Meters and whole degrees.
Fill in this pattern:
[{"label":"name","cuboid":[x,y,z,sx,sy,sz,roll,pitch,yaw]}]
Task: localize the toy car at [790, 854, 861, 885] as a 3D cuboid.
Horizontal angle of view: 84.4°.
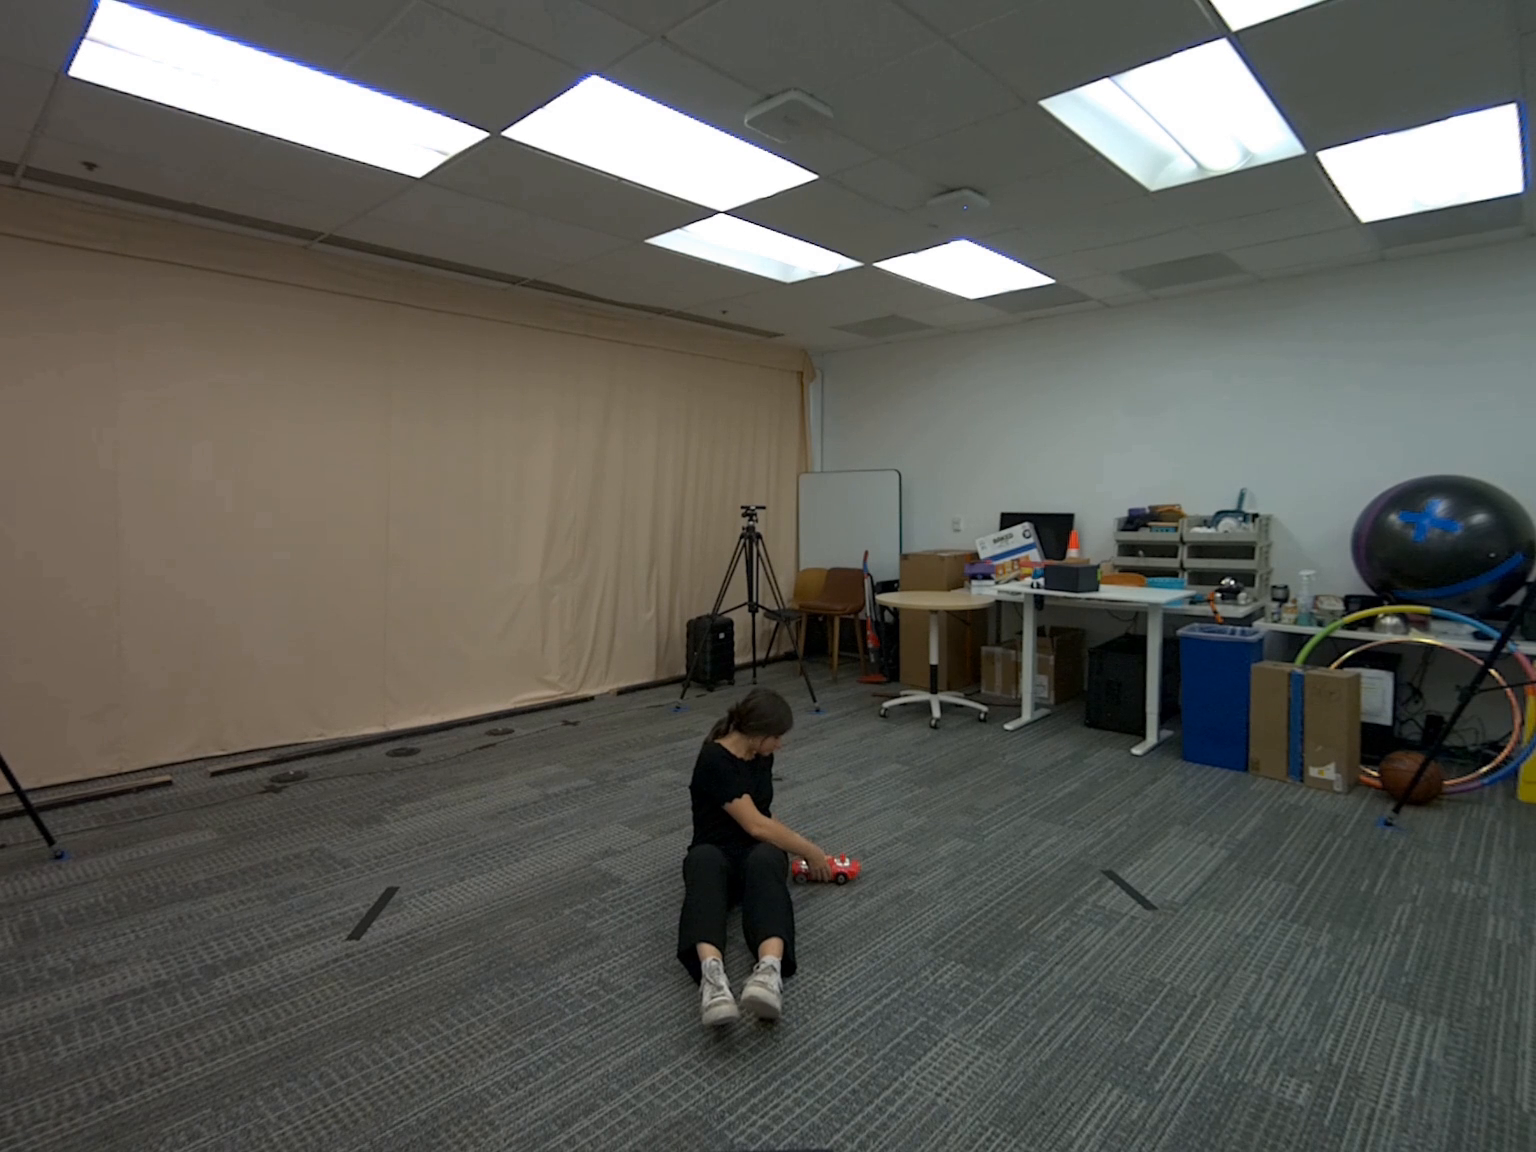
[{"label":"toy car","cuboid":[0.228,1.095,3.135,0.255,0.083,0.130,-13,4,4]}]
